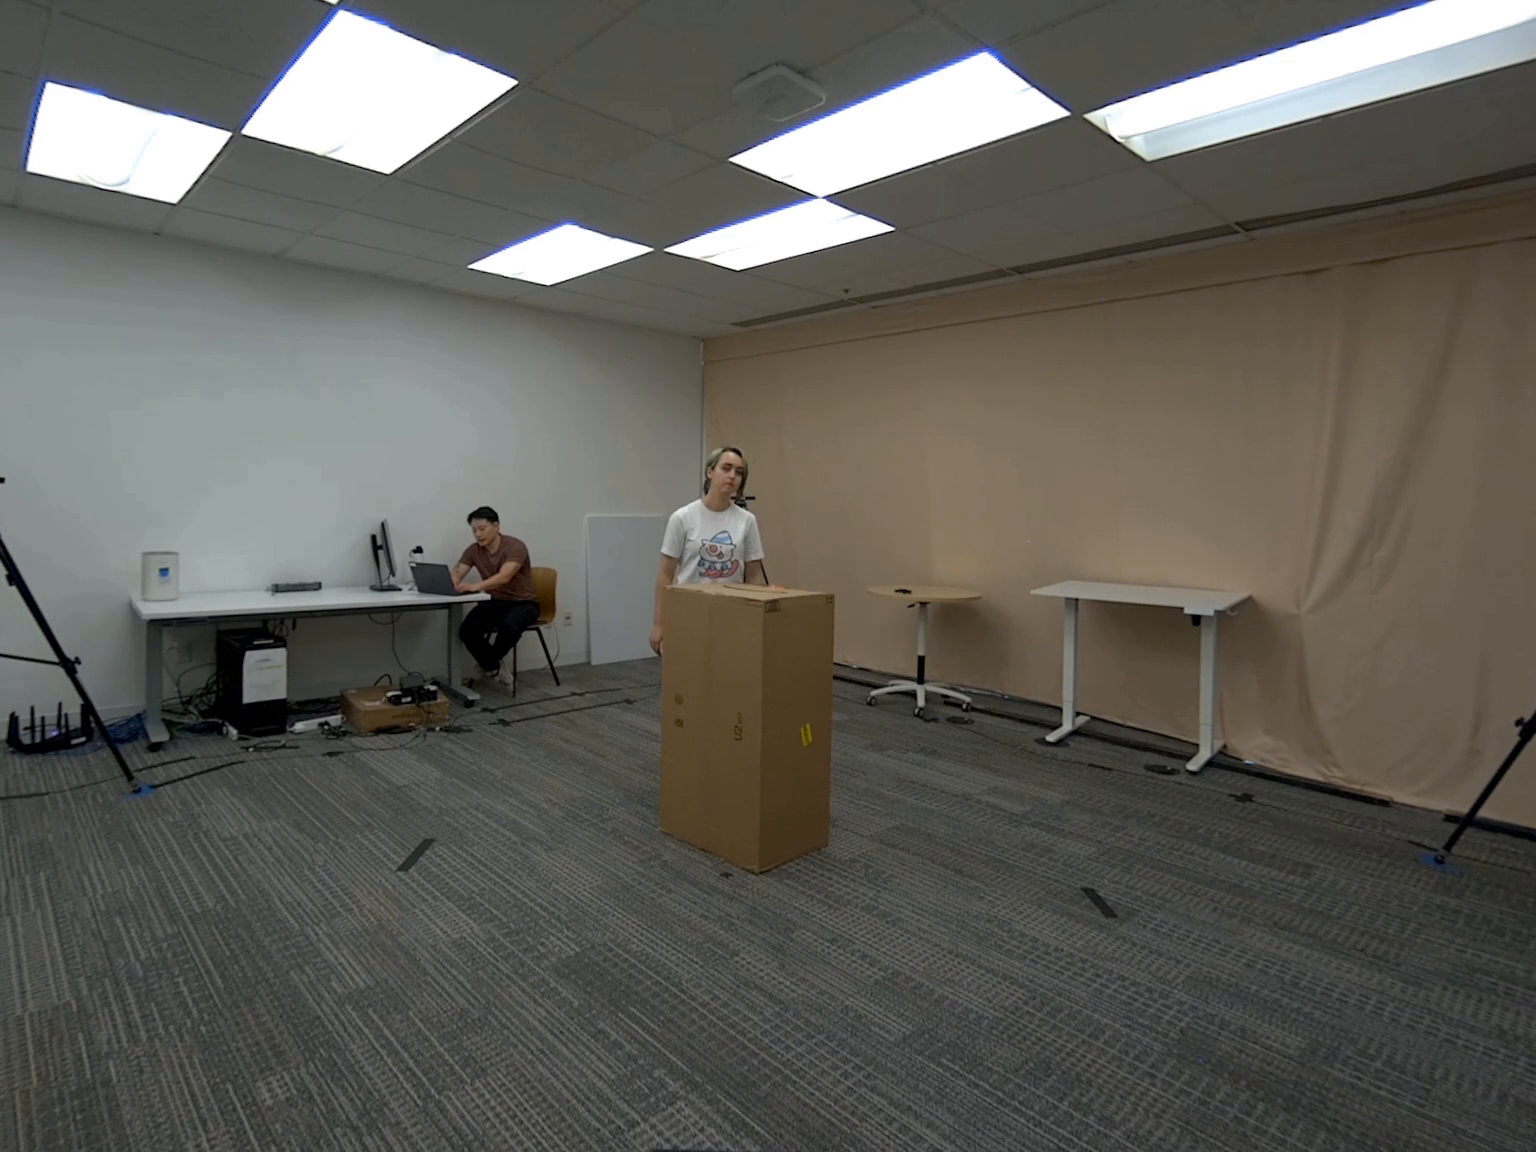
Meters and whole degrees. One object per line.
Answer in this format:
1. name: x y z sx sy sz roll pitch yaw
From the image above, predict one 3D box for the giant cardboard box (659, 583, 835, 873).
1. giant cardboard box: -0.097 0.569 3.440 0.599 1.024 0.437 4 5 43
